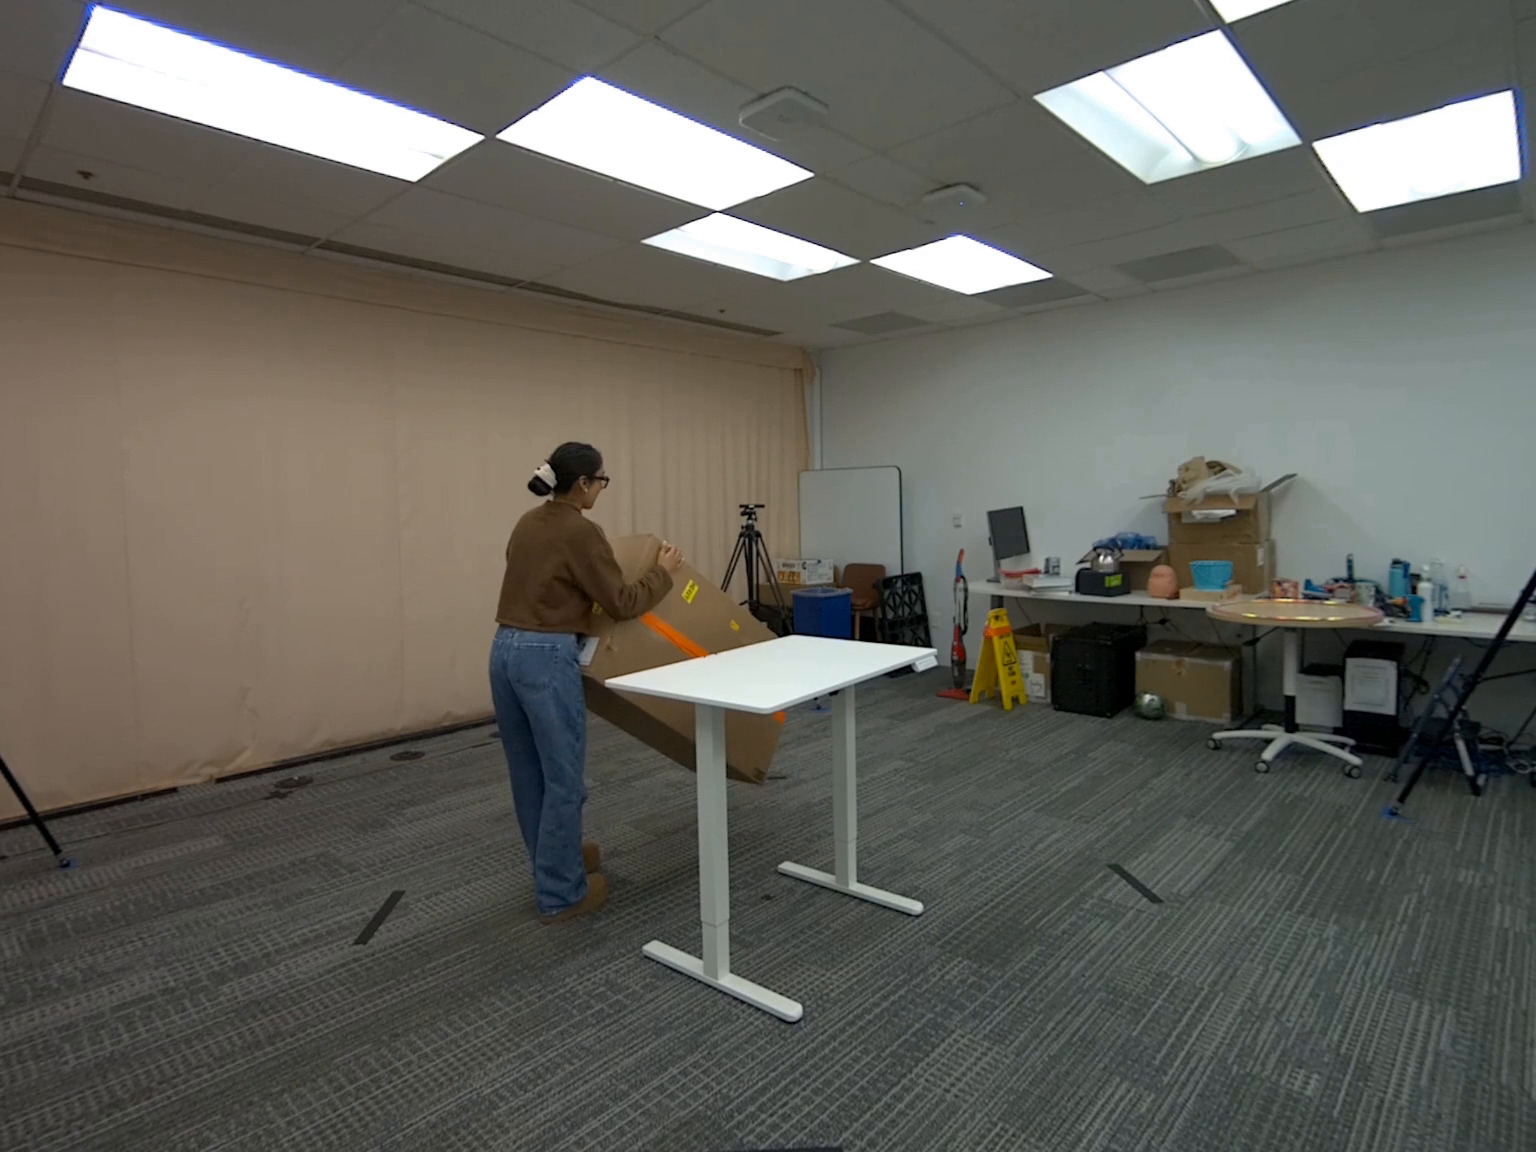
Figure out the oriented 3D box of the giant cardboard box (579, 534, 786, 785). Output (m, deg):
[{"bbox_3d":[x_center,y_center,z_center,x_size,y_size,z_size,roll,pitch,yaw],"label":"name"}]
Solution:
[{"bbox_3d":[-0.369,0.357,3.388,0.439,0.580,0.990,-3,-34,42],"label":"giant cardboard box"}]
